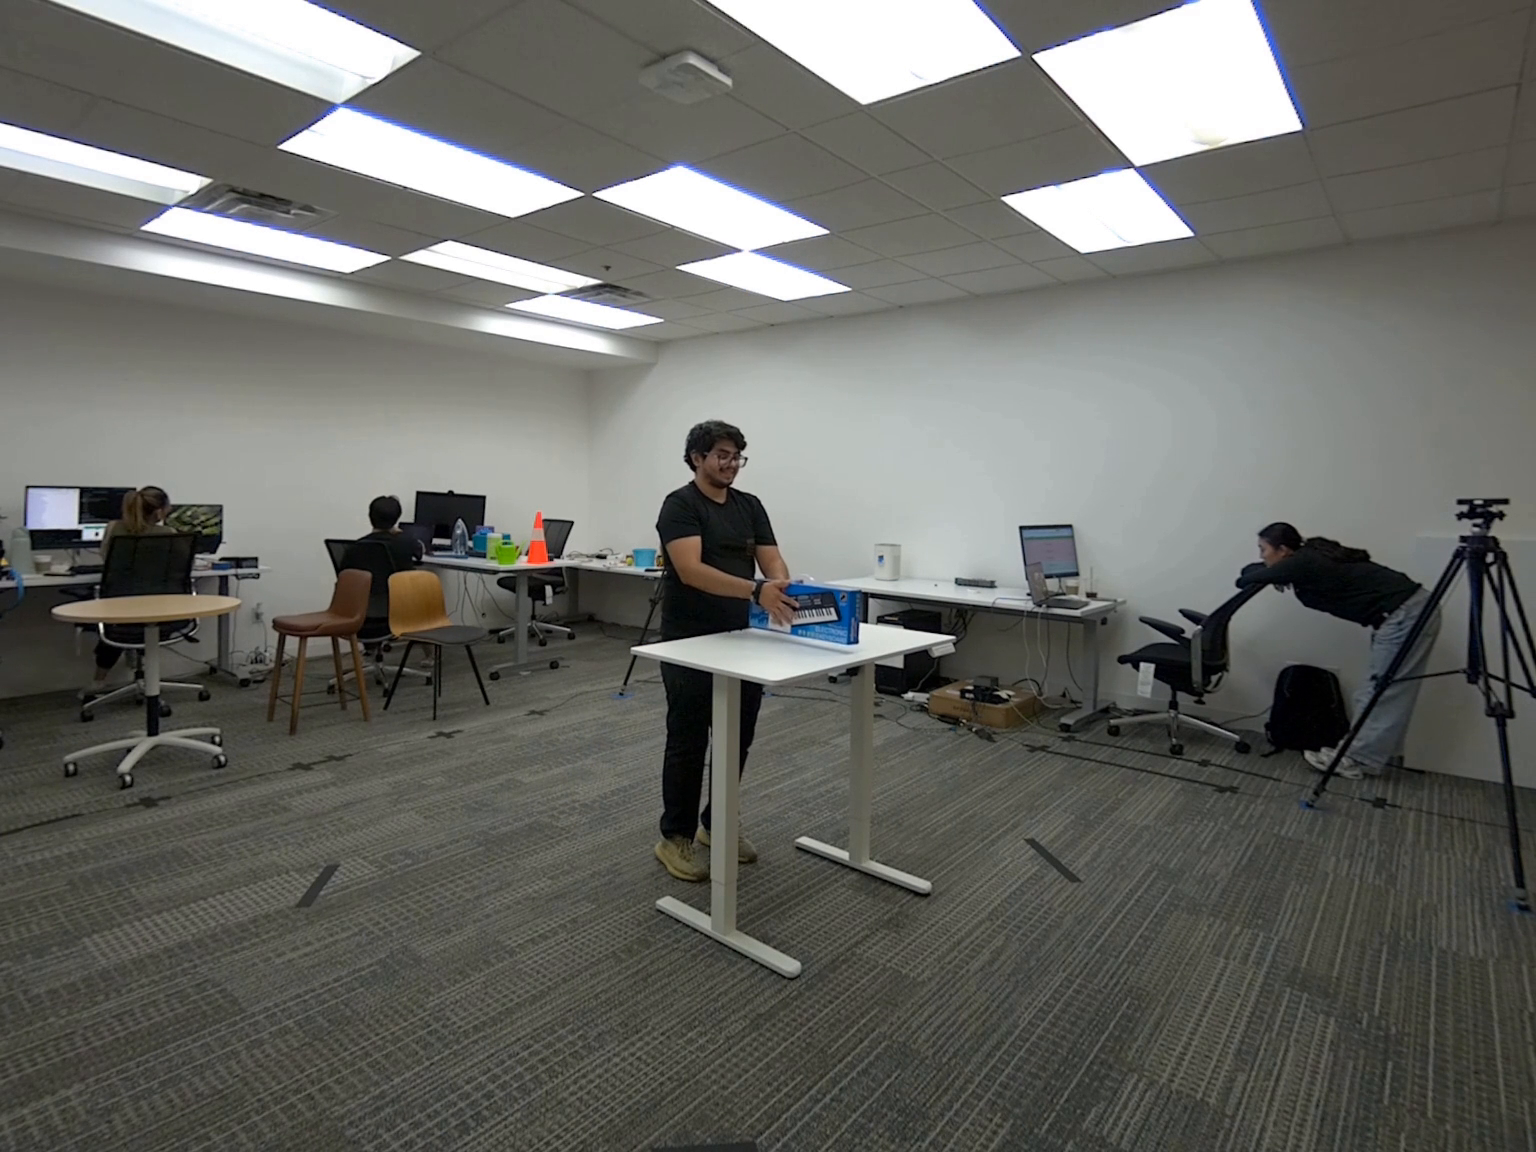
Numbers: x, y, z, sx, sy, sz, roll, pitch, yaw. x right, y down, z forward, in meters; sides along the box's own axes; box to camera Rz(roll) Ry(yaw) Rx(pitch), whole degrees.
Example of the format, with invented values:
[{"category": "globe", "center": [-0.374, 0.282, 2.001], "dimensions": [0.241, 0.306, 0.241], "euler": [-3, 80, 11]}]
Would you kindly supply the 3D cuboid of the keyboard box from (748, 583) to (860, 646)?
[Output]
[{"category": "keyboard box", "center": [0.108, 0.115, 2.811], "dimensions": [0.057, 0.176, 0.452], "euler": [3, 1, -45]}]
